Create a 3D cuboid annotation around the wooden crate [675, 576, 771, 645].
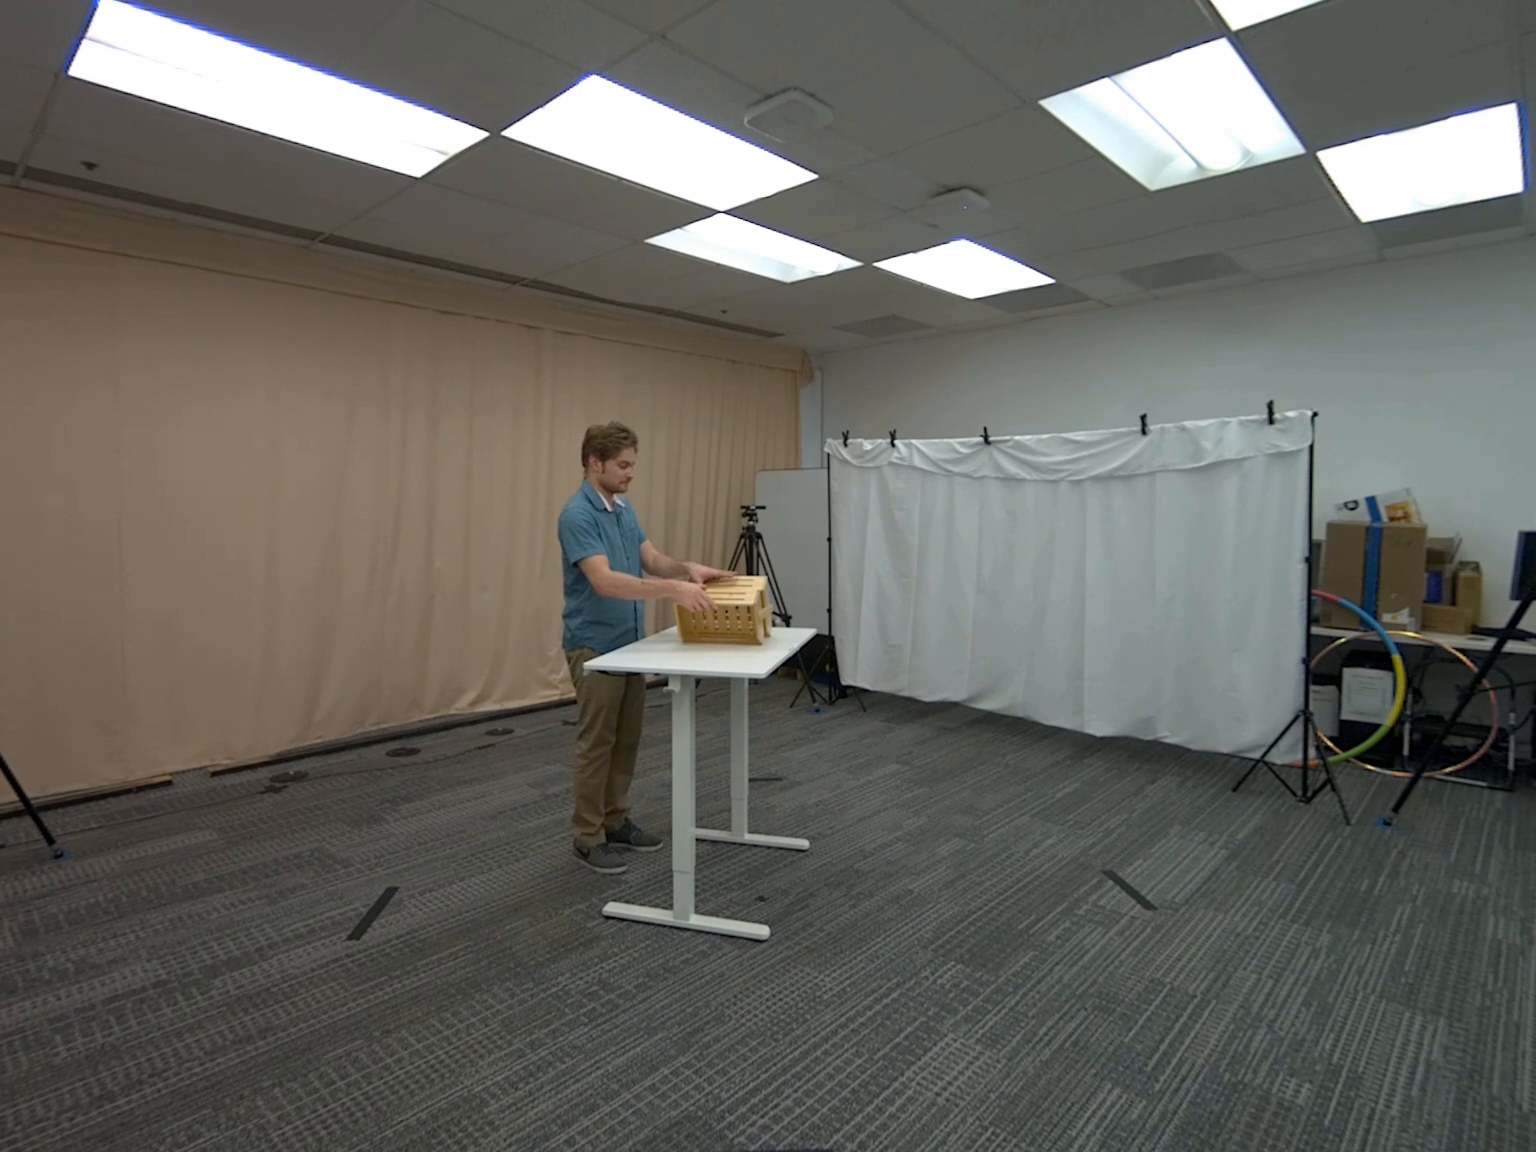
[{"bbox_3d":[-0.159,0.158,3.154,0.329,0.296,0.275,0,30,11],"label":"wooden crate"}]
